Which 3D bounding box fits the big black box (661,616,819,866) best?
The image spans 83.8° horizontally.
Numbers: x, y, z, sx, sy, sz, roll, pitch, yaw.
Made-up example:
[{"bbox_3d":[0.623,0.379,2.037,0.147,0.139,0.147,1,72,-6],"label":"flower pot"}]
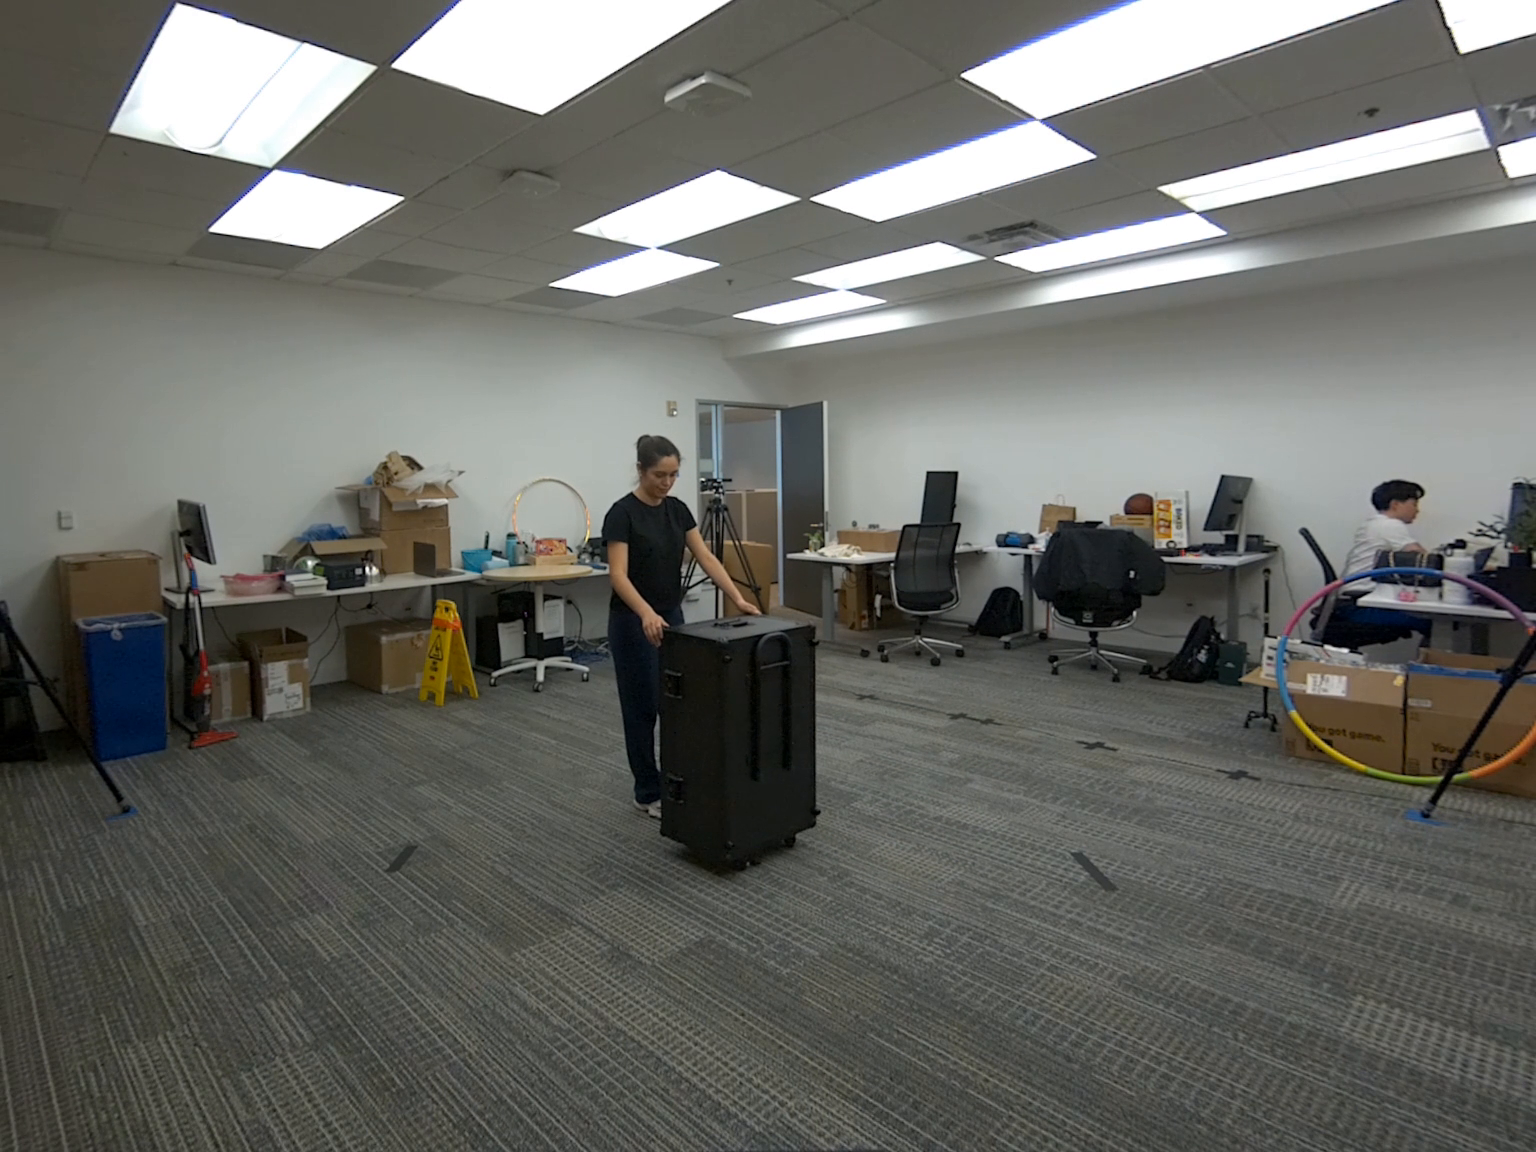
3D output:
[{"bbox_3d":[-0.102,0.607,3.213,0.507,0.857,0.409,-5,7,-44],"label":"big black box"}]
